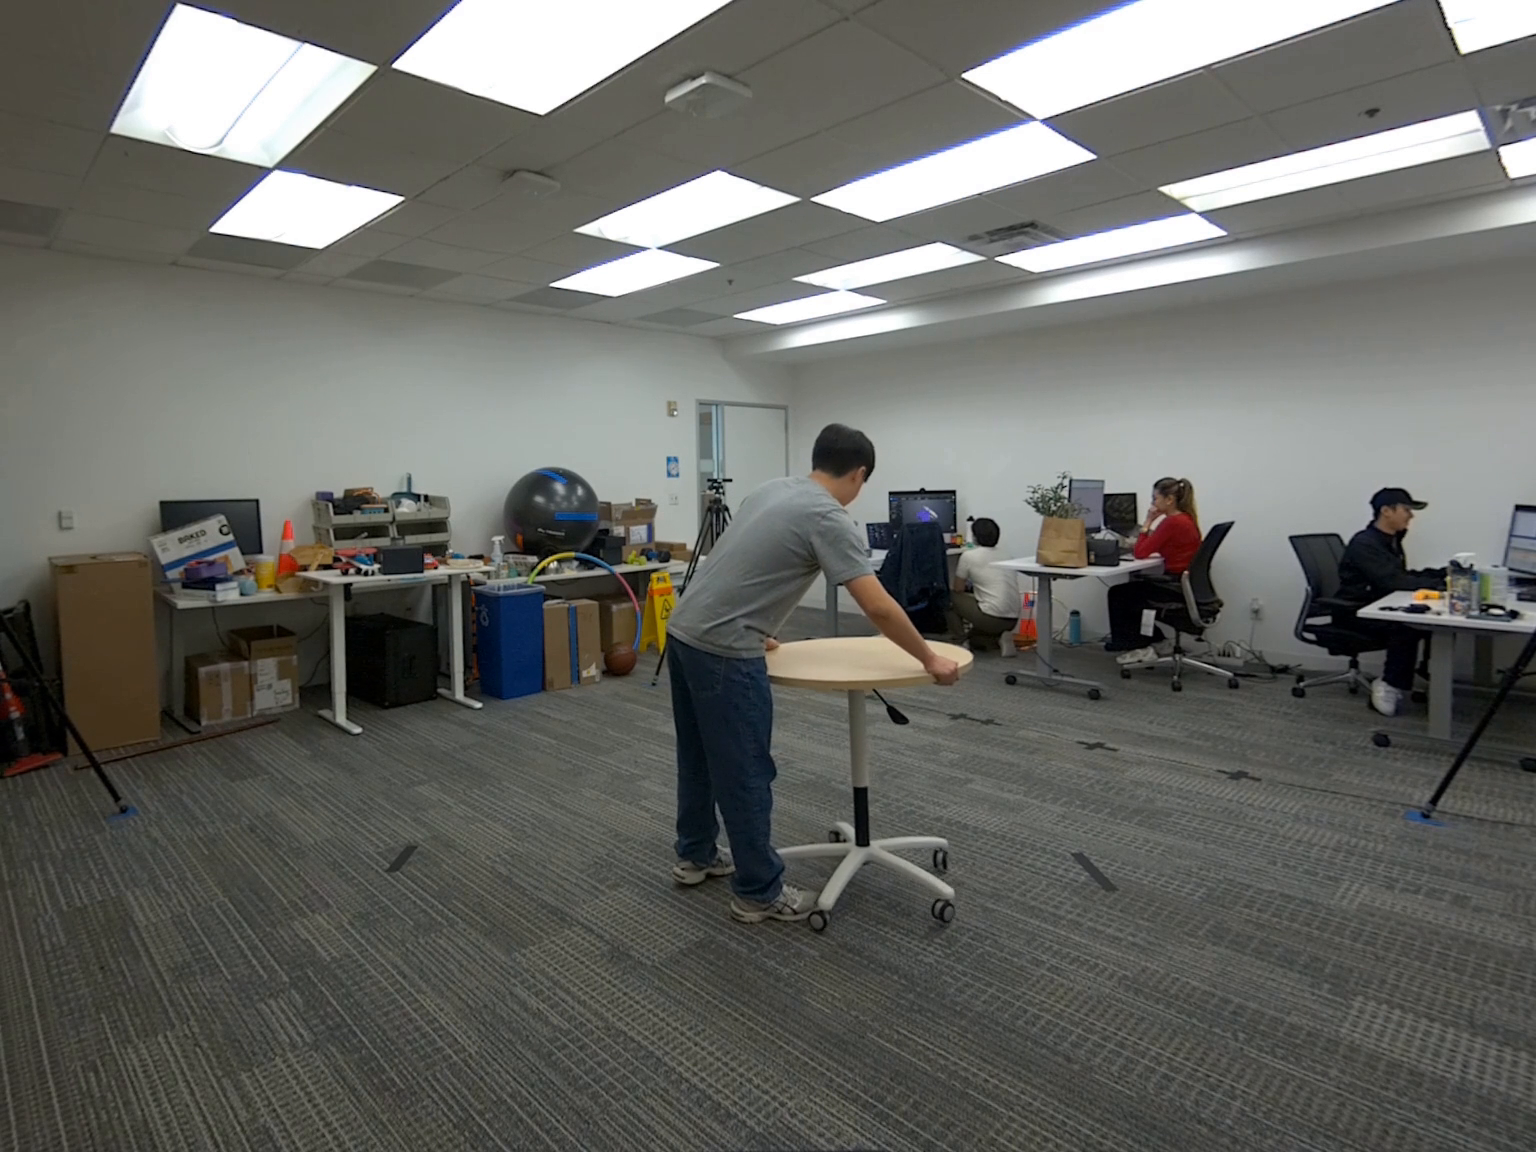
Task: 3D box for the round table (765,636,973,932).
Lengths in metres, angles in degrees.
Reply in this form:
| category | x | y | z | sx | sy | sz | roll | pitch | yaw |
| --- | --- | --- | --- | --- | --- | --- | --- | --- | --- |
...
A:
| category | x | y | z | sx | sy | sz | roll | pitch | yaw |
| --- | --- | --- | --- | --- | --- | --- | --- | --- | --- |
| round table | 0.316 | 0.662 | 2.899 | 0.763 | 0.792 | 0.767 | -3 | 4 | -1 |
